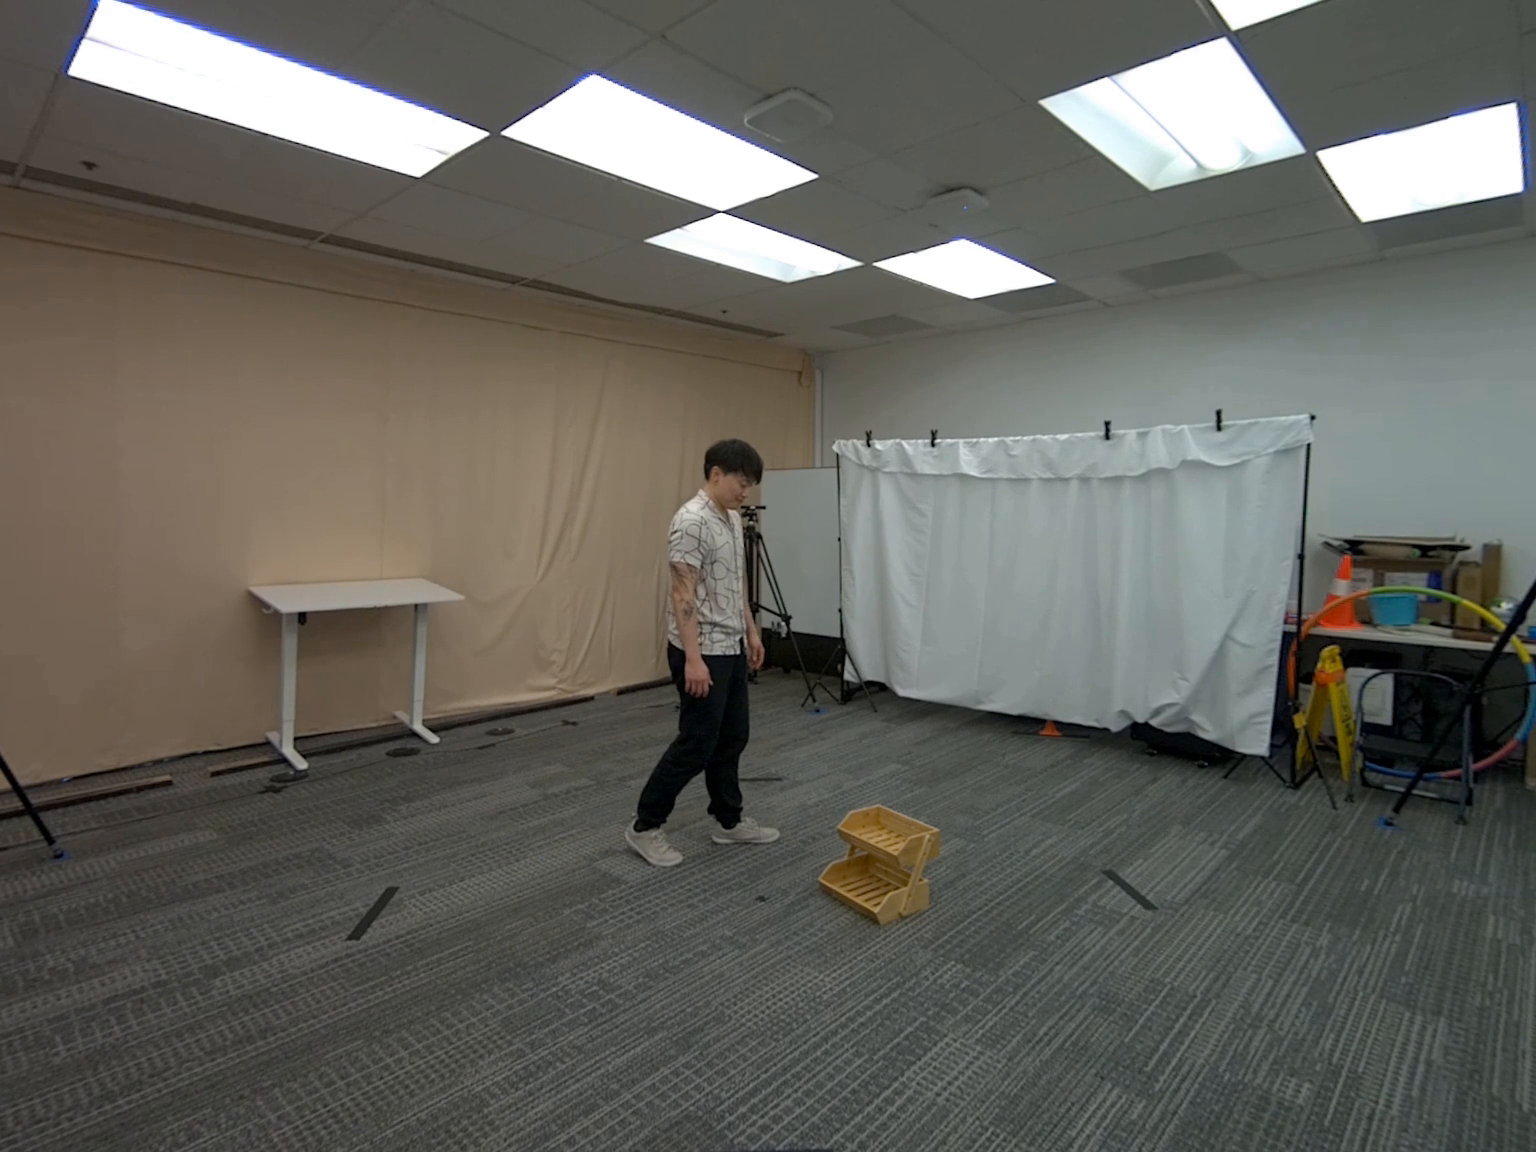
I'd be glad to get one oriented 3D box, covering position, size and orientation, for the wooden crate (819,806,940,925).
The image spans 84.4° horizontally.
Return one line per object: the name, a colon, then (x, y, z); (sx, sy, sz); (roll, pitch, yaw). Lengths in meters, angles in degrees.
wooden crate: (0.394, 1.005, 2.982); (0.293, 0.273, 0.335); (-2, 4, -35)
